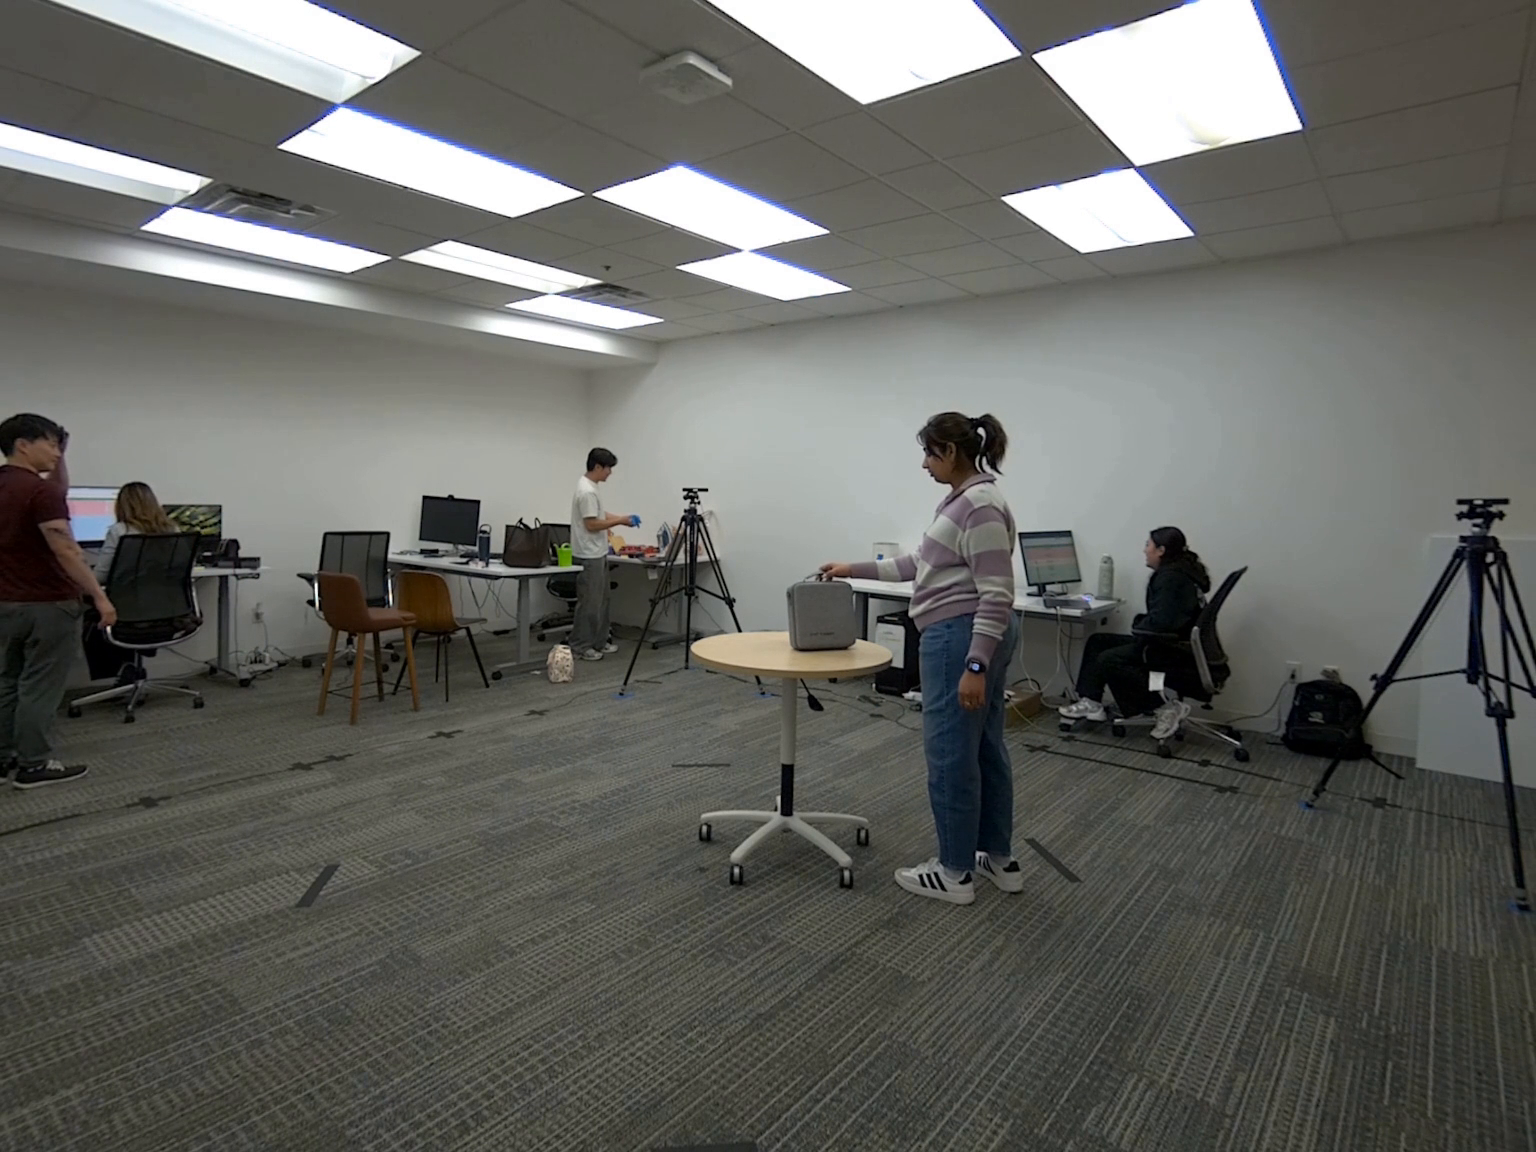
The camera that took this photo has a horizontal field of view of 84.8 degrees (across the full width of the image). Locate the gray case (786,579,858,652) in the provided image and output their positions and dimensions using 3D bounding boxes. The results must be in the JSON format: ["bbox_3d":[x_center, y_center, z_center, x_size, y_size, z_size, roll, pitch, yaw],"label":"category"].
[{"bbox_3d":[0.199,0.149,3.283,0.252,0.262,0.106,2,-5,-19],"label":"gray case"}]
